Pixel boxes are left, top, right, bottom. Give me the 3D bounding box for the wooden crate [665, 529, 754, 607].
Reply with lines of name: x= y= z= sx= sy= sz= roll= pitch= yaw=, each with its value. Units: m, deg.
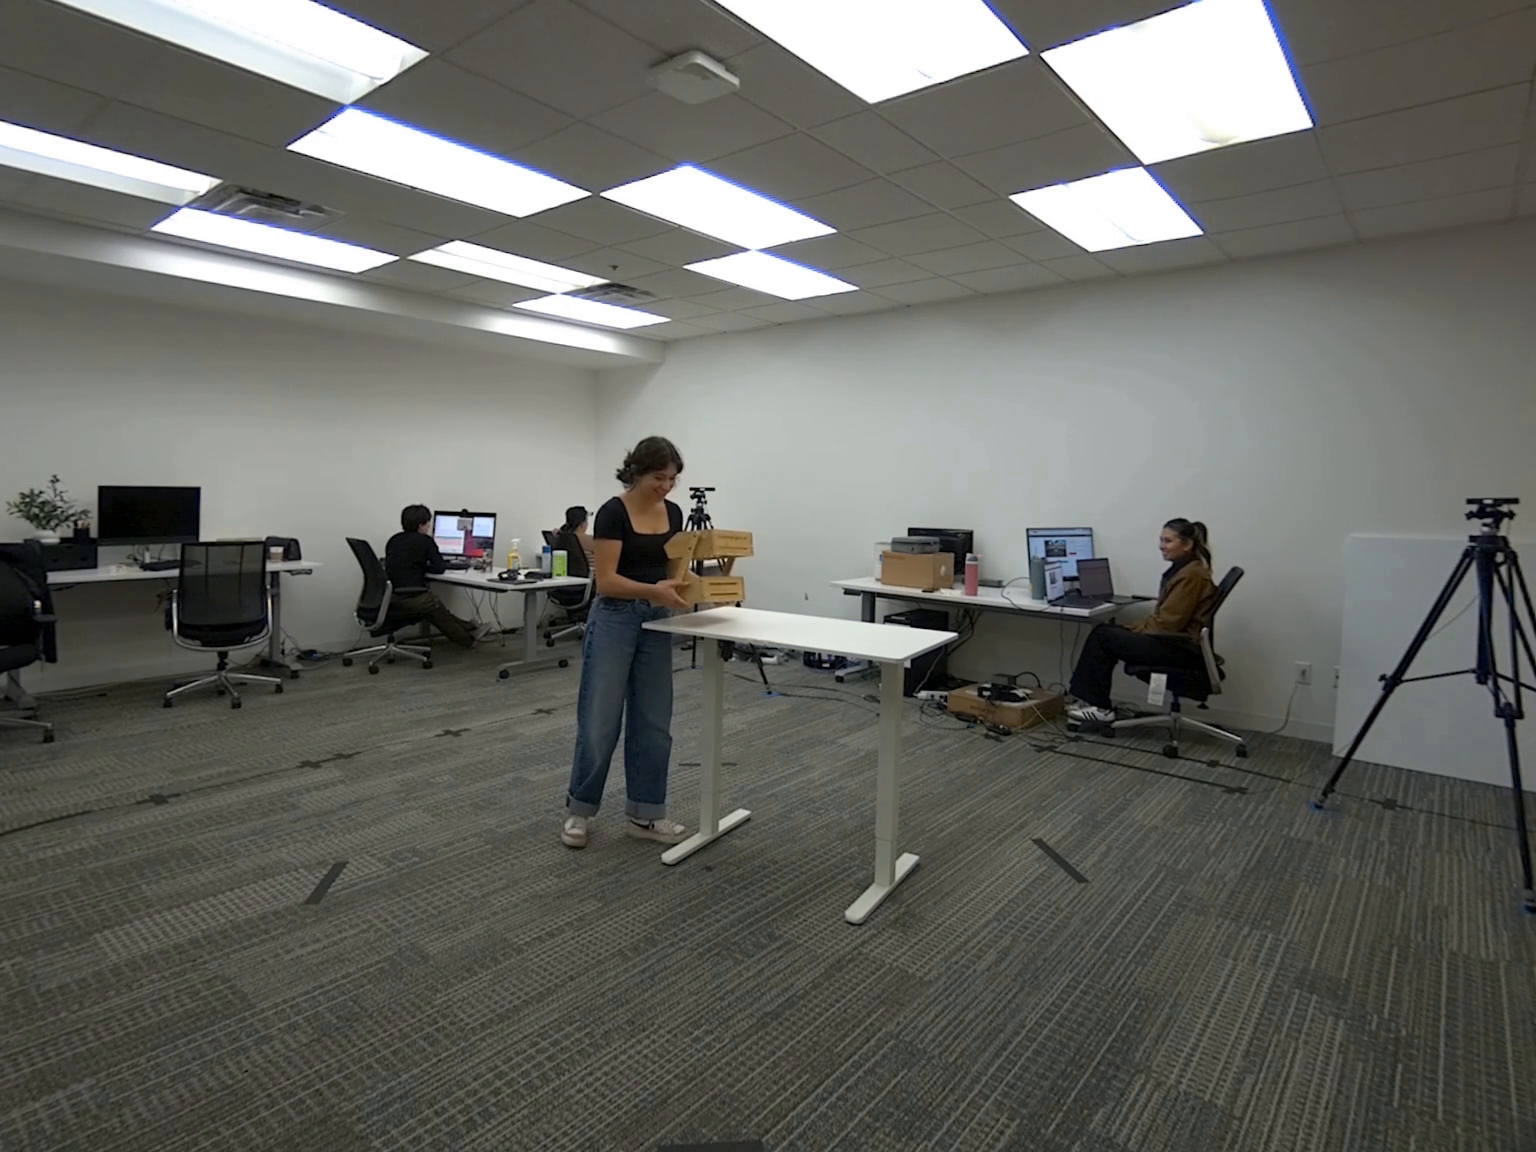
wooden crate: x=-0.268 y=-0.032 z=3.207 sx=0.310 sy=0.274 sz=0.315 roll=-5 pitch=-4 yaw=30
